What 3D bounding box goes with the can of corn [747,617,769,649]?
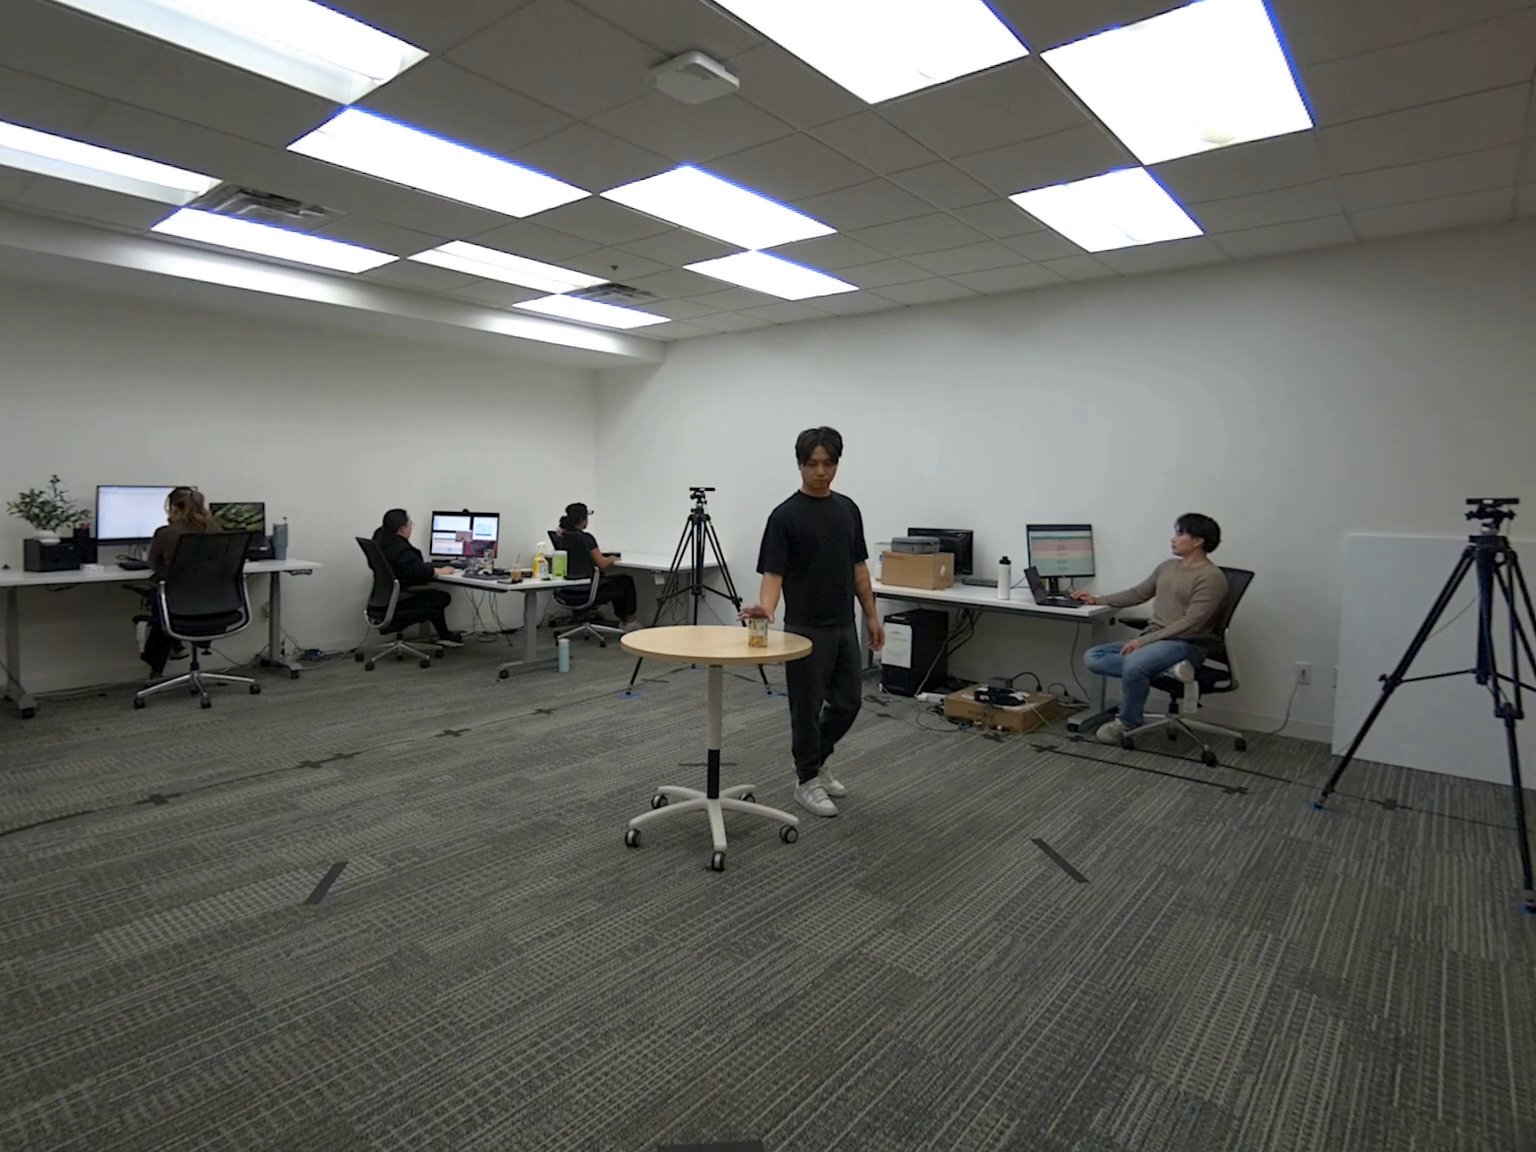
[{"bbox_3d":[-0.050,0.213,3.298,0.074,0.111,0.074,3,4,-2],"label":"can of corn"}]
